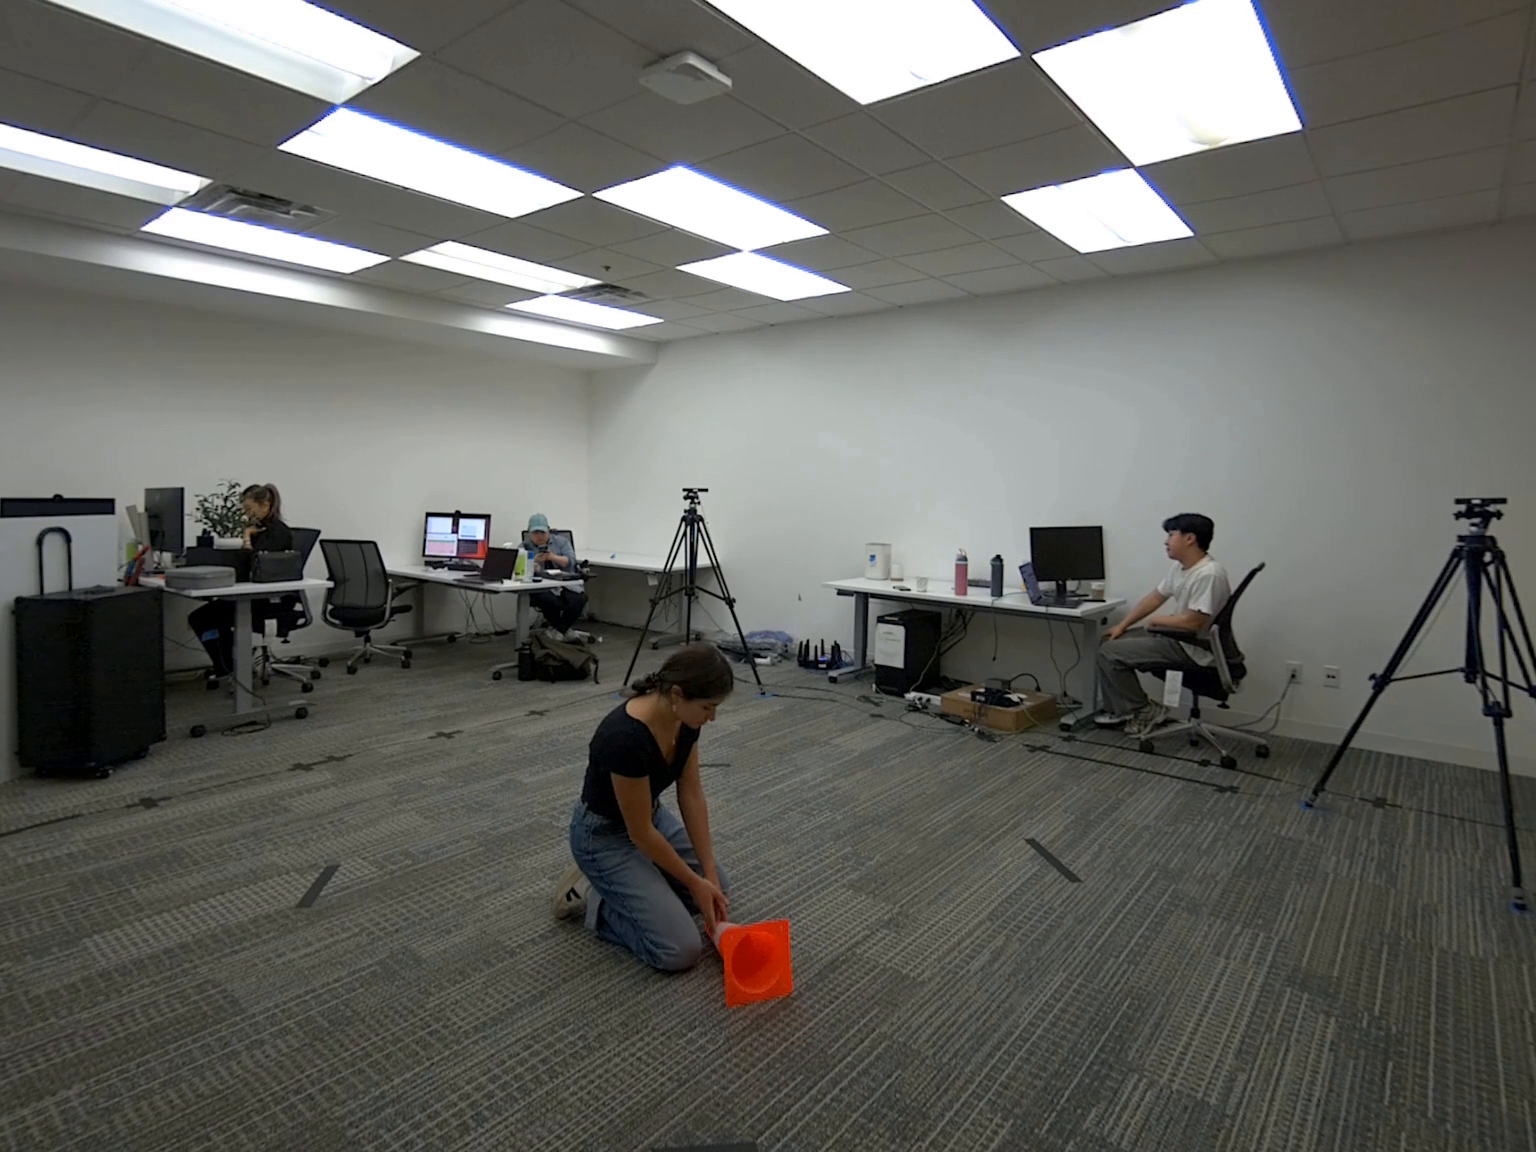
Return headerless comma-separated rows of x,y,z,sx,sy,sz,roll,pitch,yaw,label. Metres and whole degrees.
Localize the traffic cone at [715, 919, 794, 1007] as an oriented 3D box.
-0.113,1.072,2.501,0.200,0.205,0.390,-5,-5,-26,traffic cone
